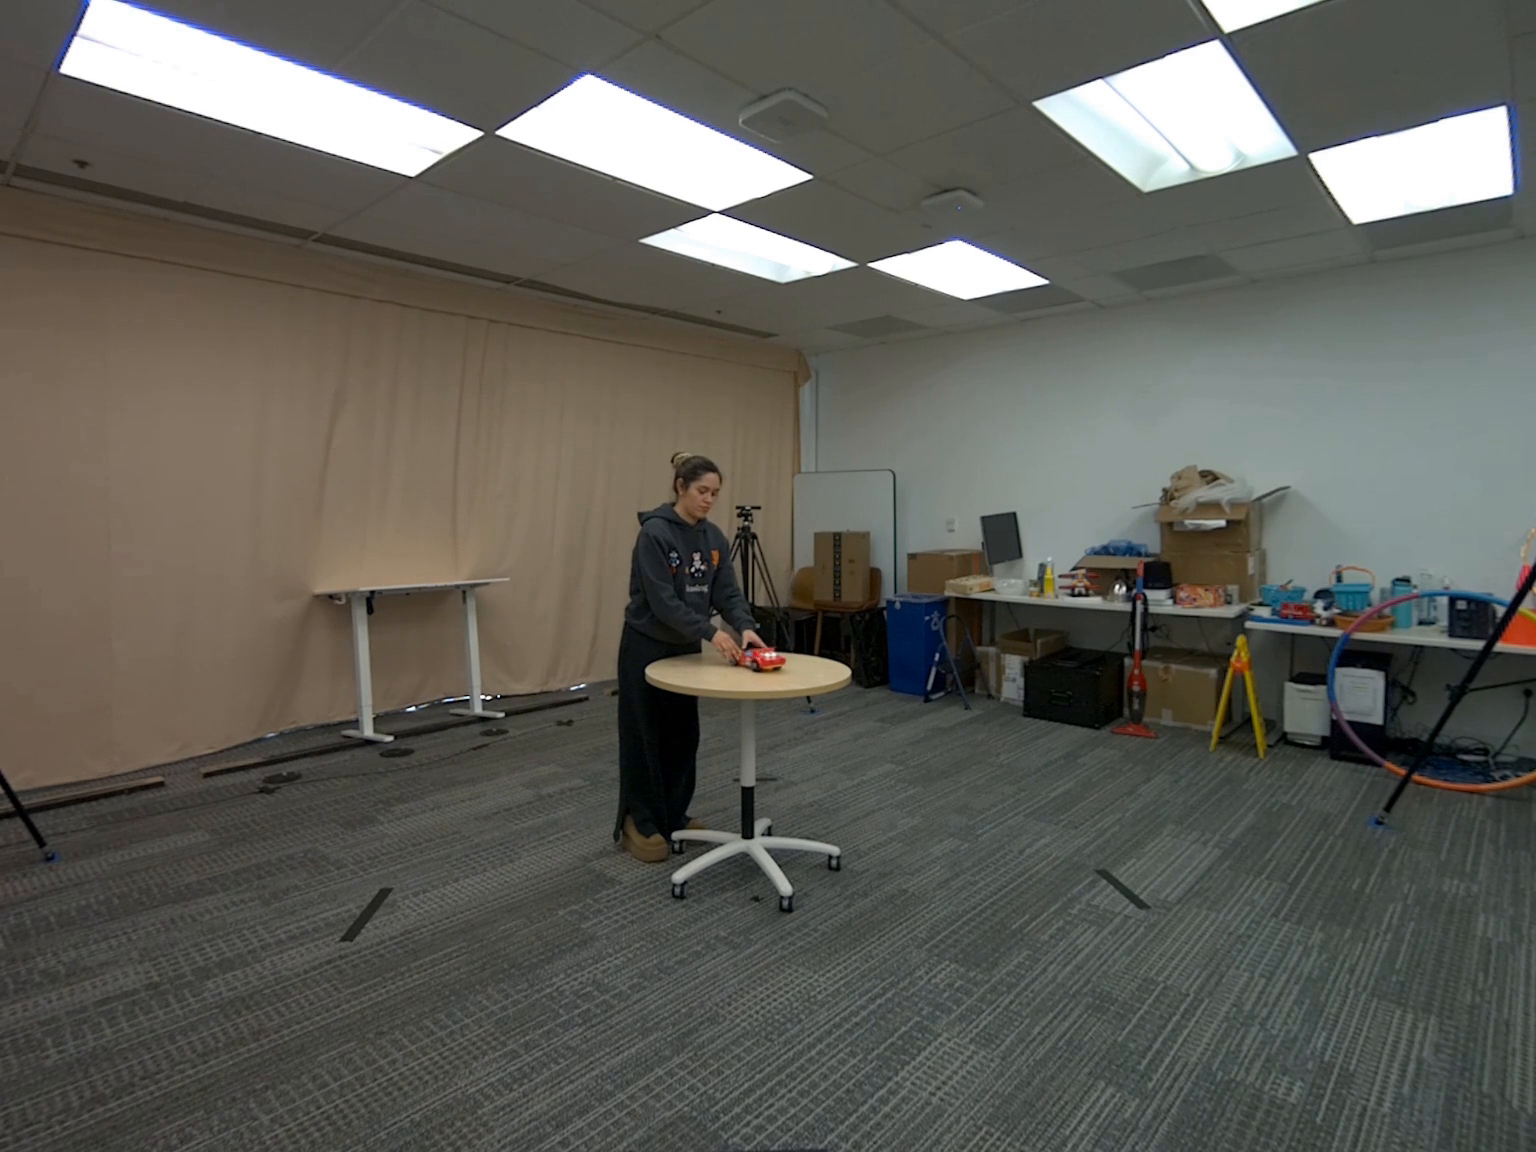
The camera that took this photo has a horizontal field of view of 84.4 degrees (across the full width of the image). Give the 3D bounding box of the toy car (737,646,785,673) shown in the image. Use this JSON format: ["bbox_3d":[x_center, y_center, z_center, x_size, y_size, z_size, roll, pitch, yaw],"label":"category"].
[{"bbox_3d":[-0.018,0.314,3.145,0.126,0.083,0.261,-4,-6,-34],"label":"toy car"}]
